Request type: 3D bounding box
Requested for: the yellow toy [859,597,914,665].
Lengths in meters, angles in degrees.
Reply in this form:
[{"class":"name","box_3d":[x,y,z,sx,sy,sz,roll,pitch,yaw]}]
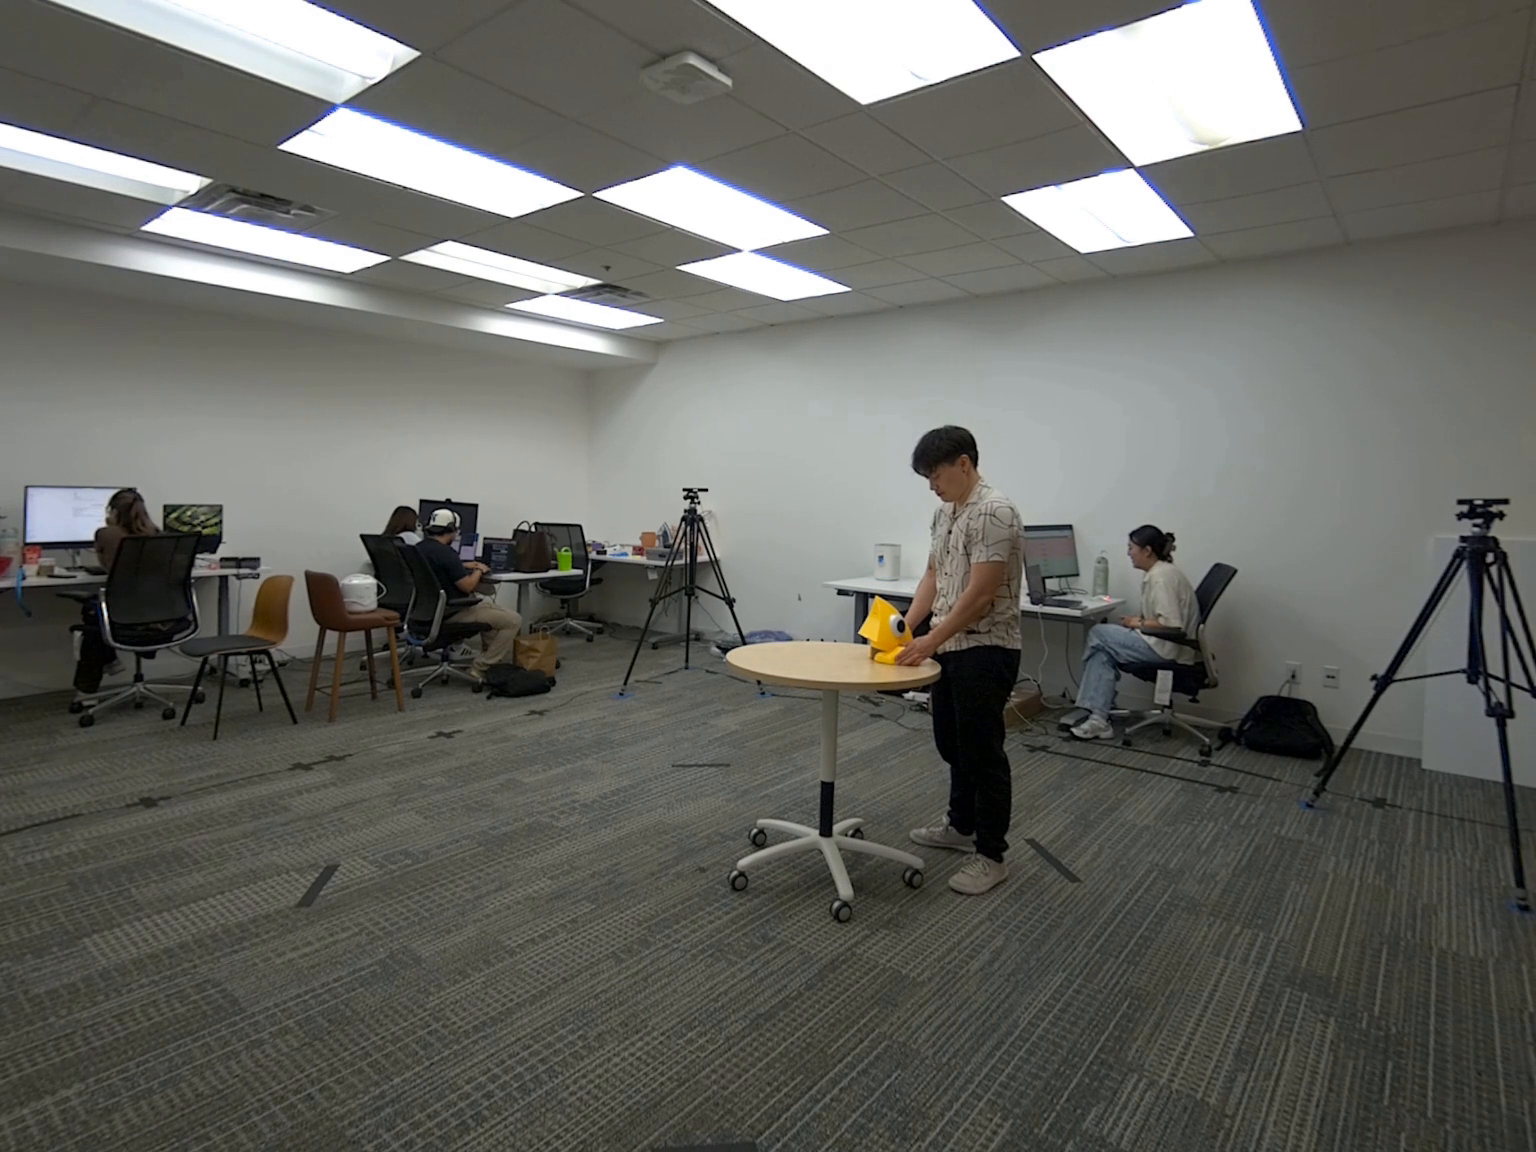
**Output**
[{"class":"yellow toy","box_3d":[0.446,0.186,3.110,0.190,0.230,0.208,1,3,-14]}]
